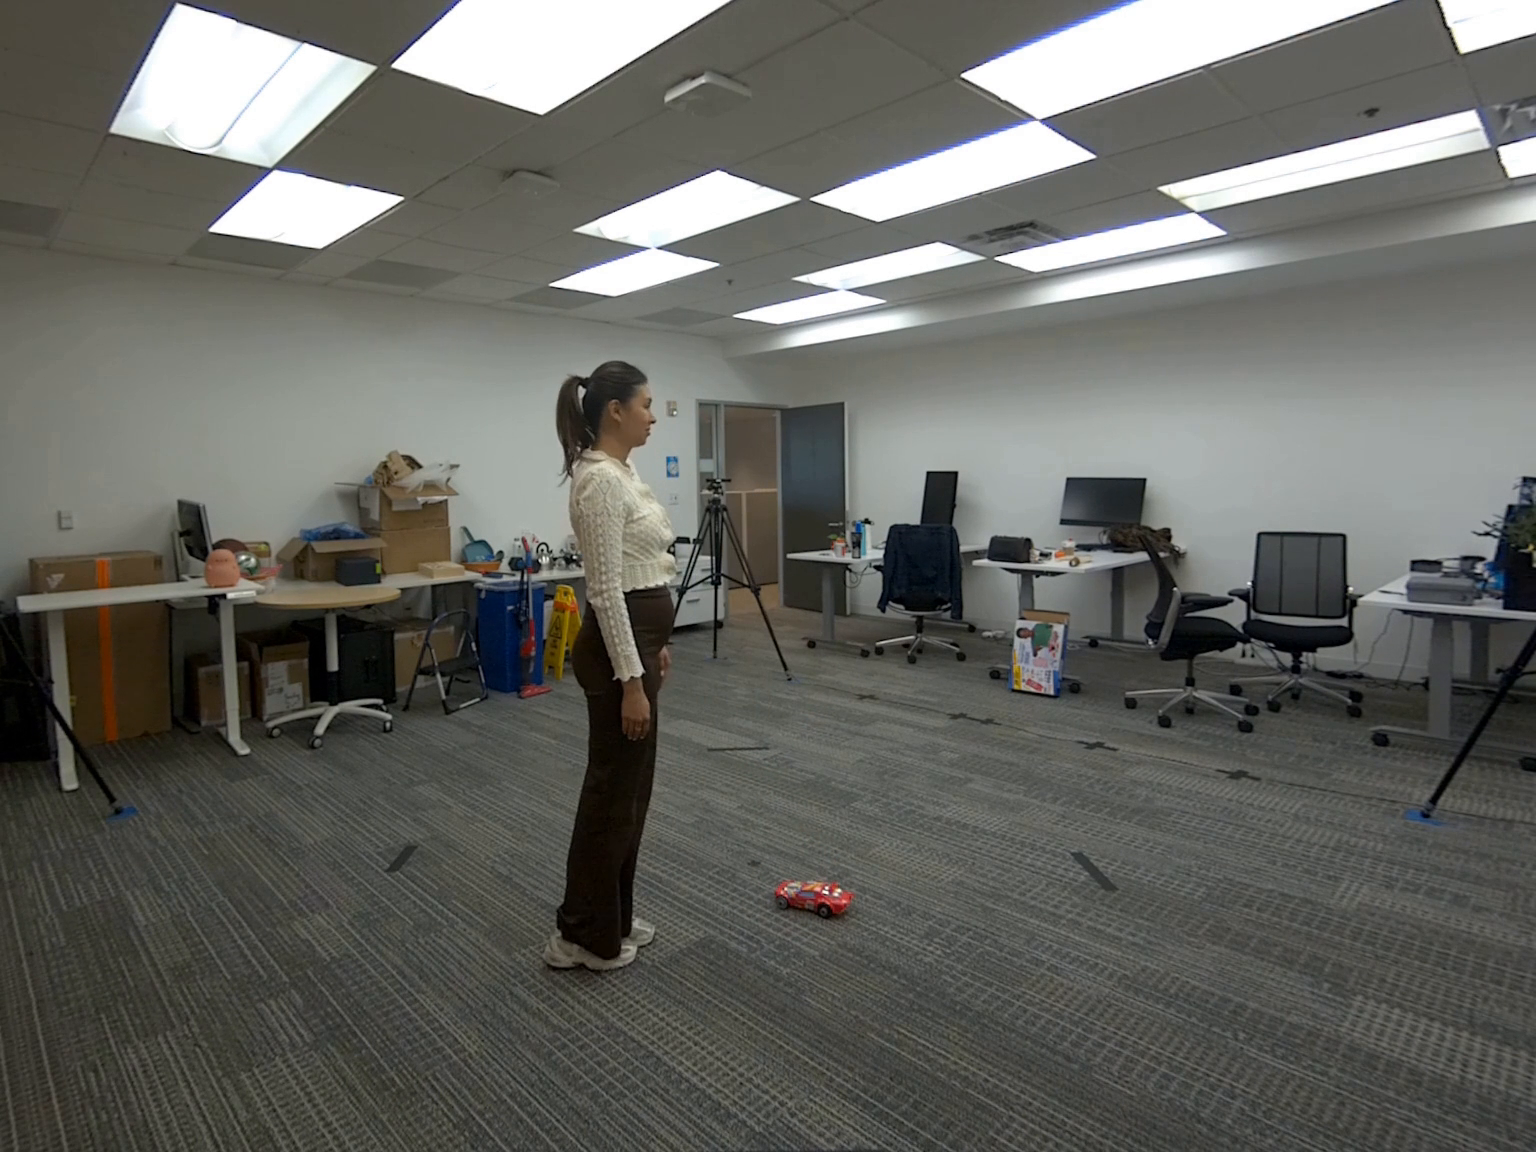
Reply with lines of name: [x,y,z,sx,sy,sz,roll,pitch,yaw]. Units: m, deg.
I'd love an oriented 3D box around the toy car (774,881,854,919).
toy car: [0.156,1.044,2.777,0.259,0.083,0.128,-10,1,25]
